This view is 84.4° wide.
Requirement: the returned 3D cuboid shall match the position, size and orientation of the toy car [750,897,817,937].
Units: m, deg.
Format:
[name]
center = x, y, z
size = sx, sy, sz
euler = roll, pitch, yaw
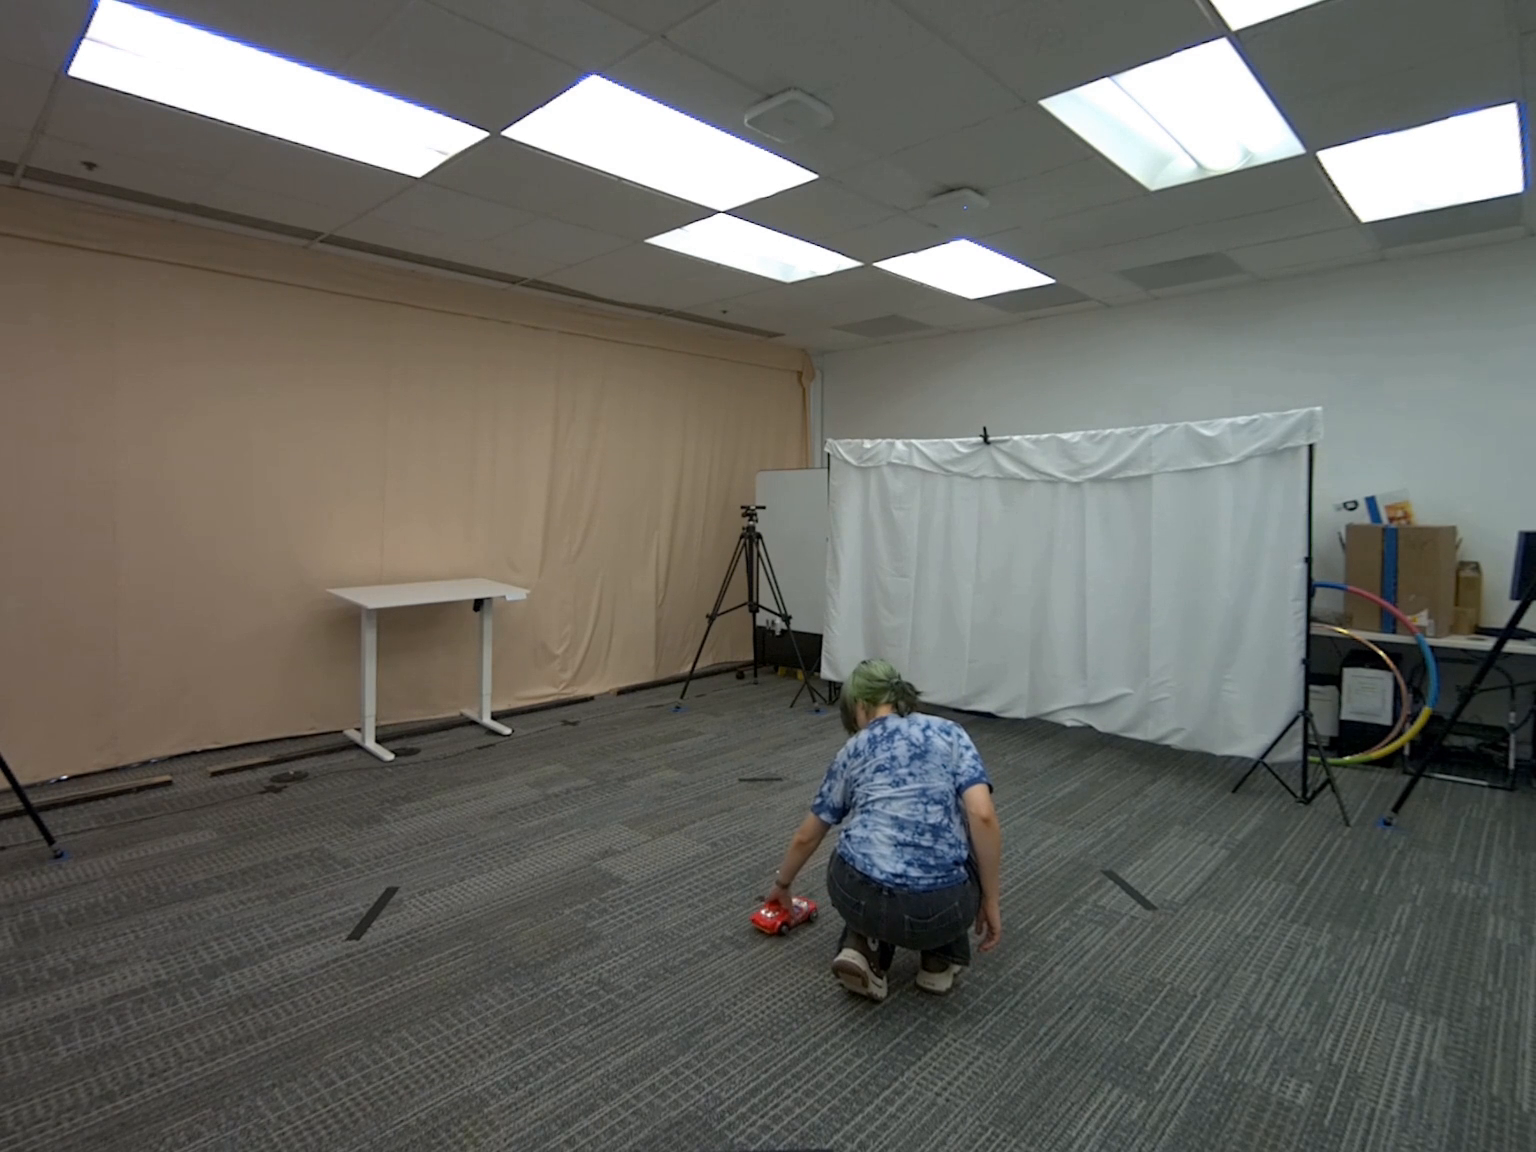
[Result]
[toy car]
center = 0.054, 1.130, 2.793
size = 0.246, 0.083, 0.135
euler = 10, -3, -42
